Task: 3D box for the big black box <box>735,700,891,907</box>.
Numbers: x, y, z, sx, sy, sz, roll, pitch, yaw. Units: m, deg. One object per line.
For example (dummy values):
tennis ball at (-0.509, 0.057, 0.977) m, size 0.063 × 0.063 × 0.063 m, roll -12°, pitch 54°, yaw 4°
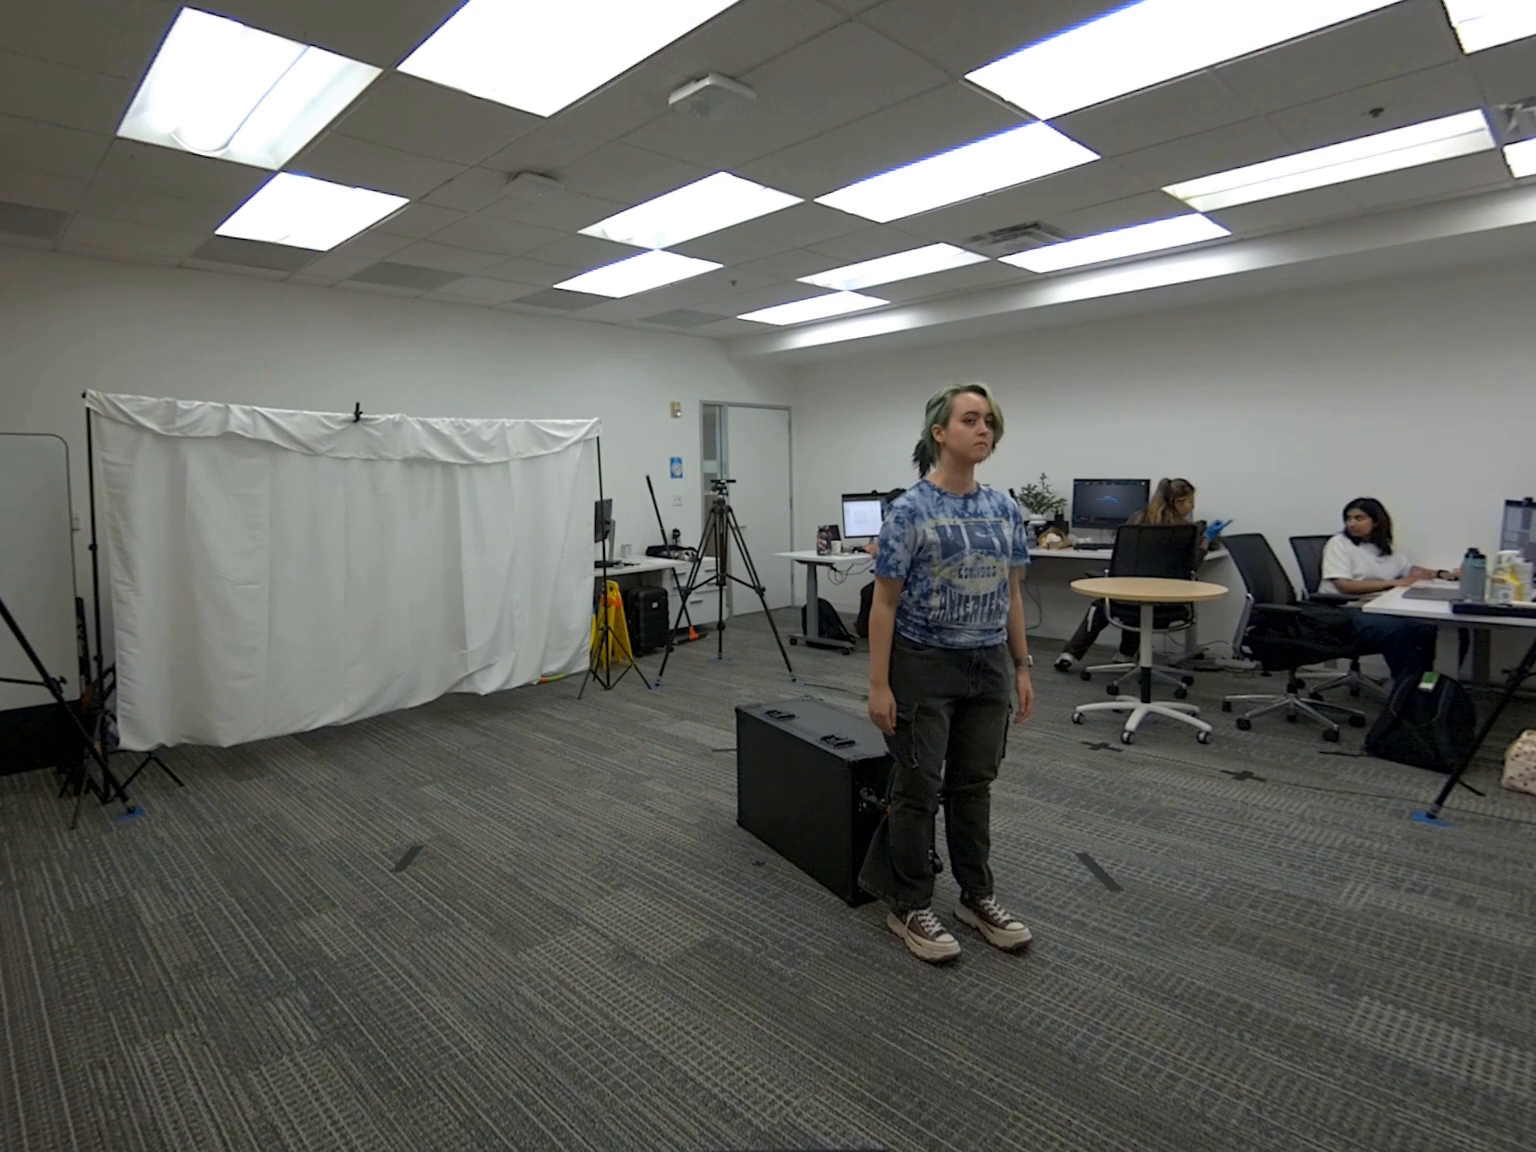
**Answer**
big black box at (0.246, 0.792, 3.163) m, size 0.387 × 0.519 × 0.885 m, roll -4°, pitch 7°, yaw -28°
